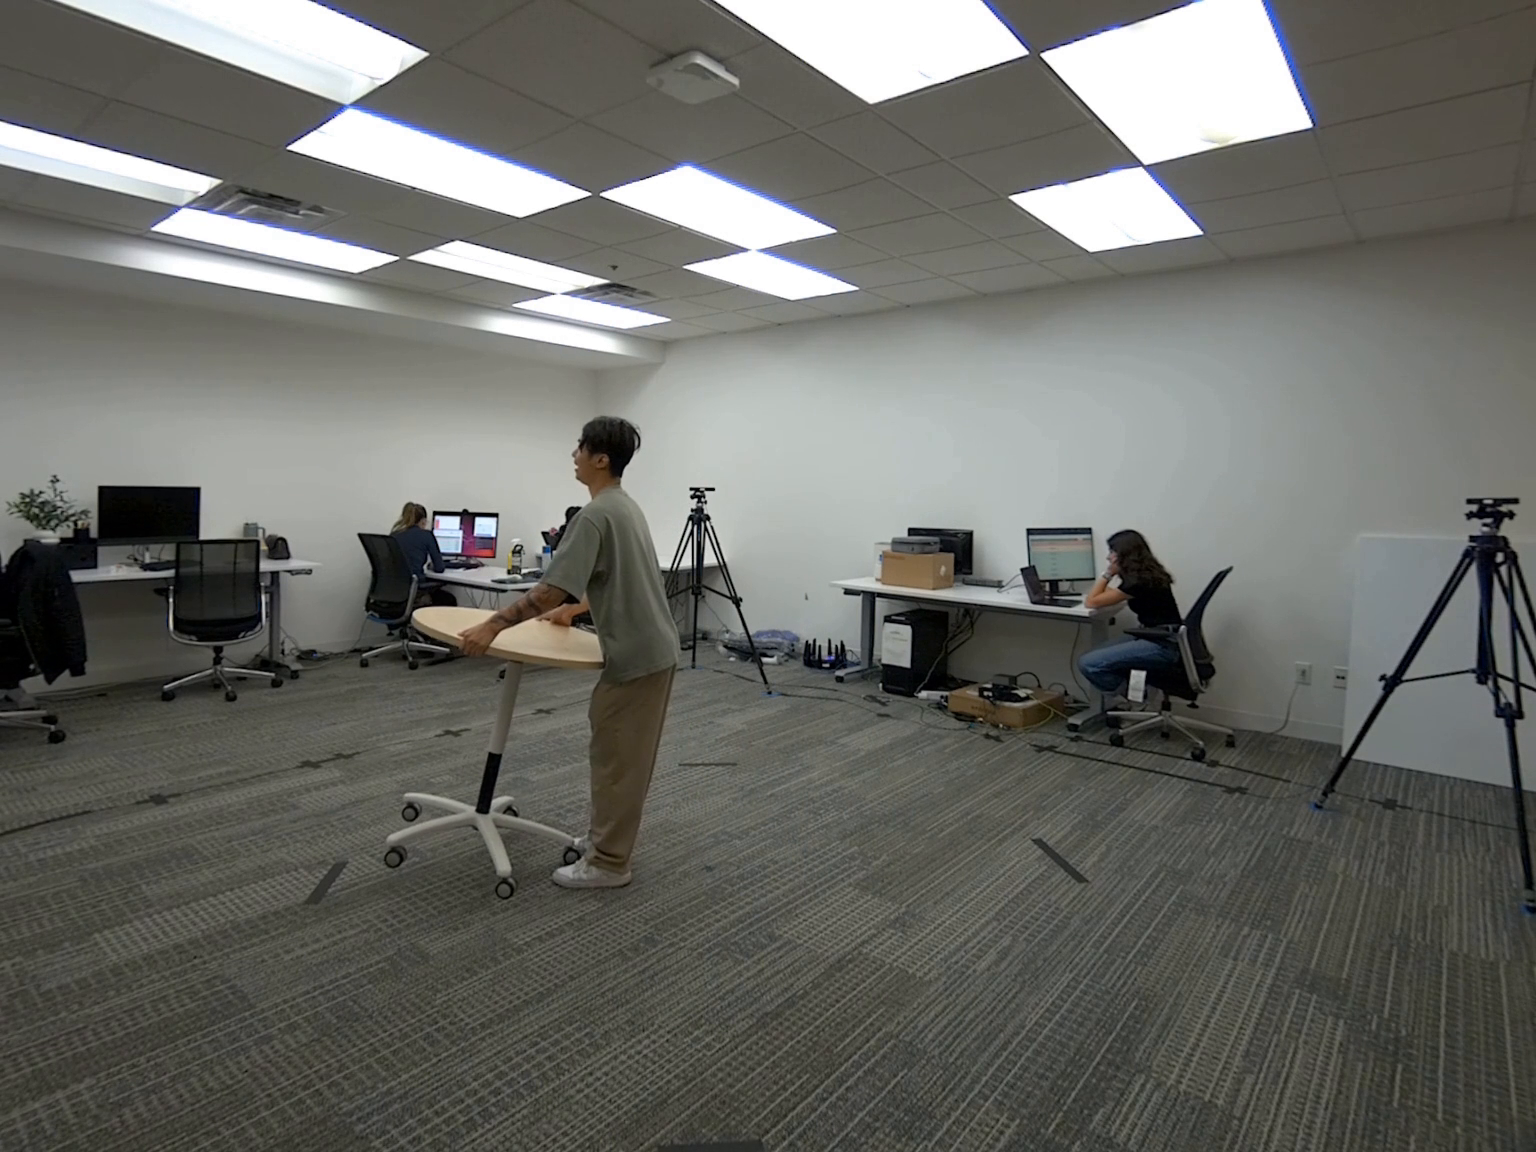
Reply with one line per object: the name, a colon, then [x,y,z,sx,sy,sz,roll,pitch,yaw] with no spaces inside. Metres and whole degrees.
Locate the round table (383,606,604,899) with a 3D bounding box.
round table: [-0.982,0.590,3.069,0.784,0.786,0.787,13,2,-2]
